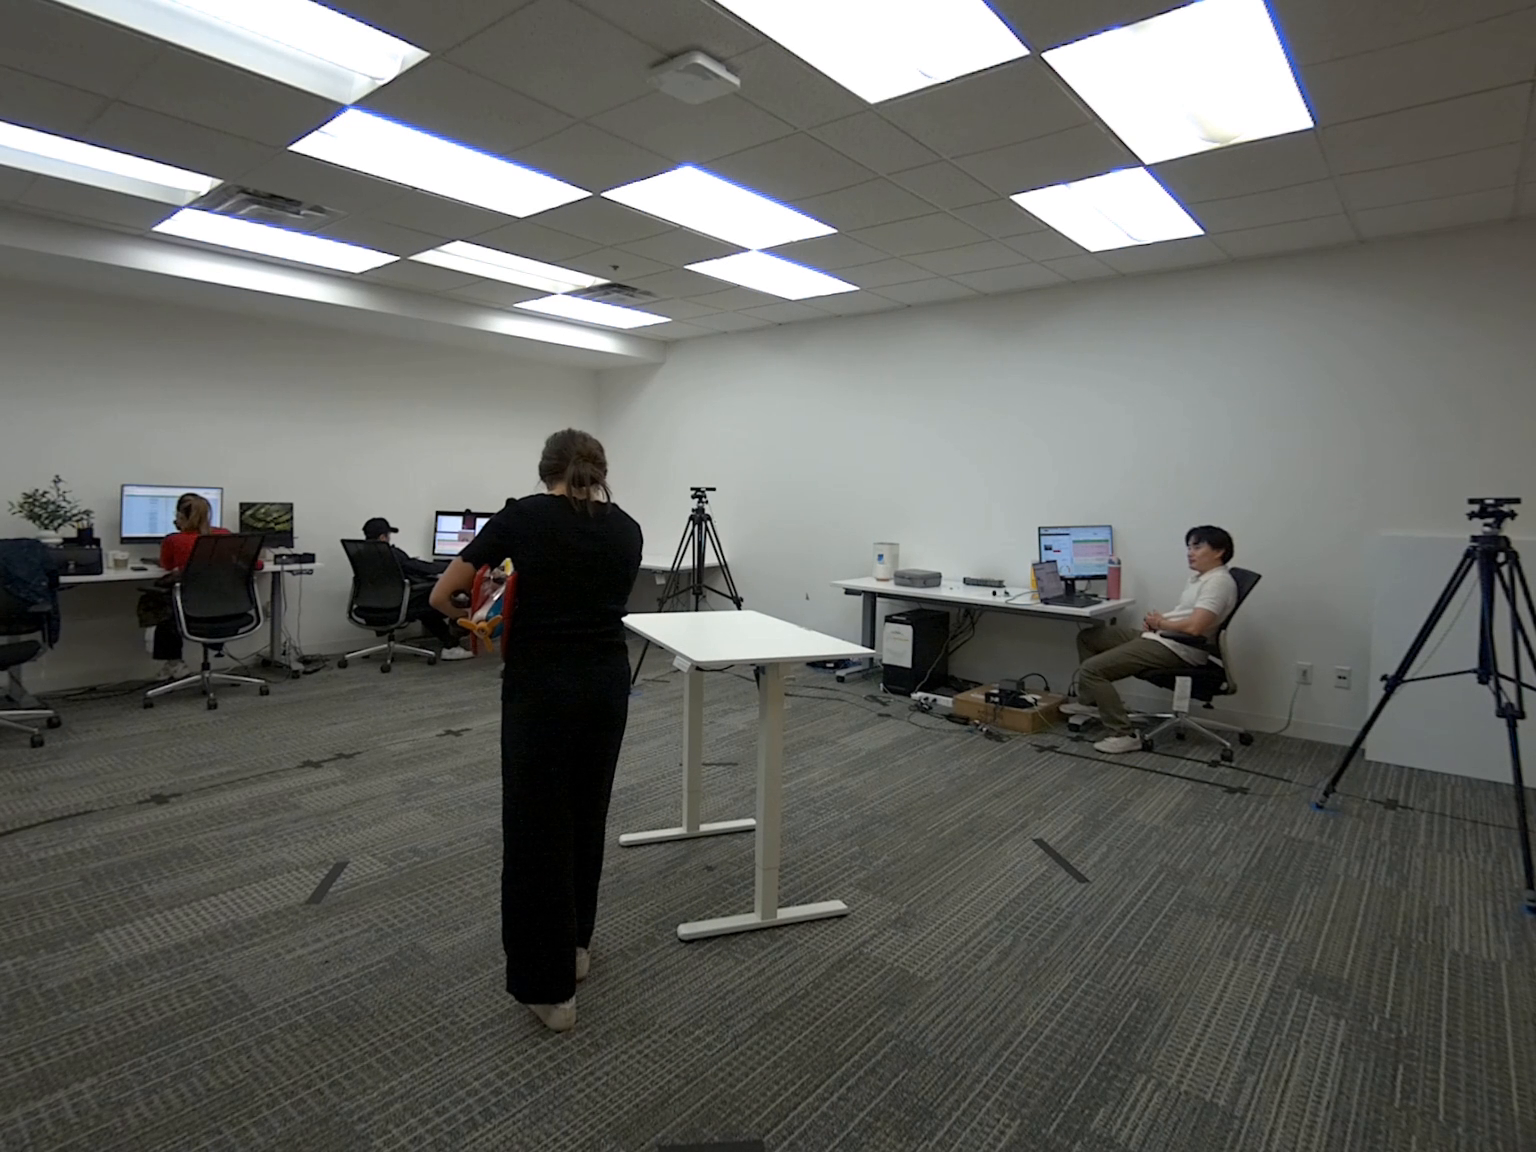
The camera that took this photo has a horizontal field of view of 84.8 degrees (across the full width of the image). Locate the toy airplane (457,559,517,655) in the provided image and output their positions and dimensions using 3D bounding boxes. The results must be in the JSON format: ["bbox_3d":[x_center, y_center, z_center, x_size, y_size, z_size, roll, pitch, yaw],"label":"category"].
[{"bbox_3d":[-0.726,0.061,2.228,0.159,0.262,0.245,19,-36,9],"label":"toy airplane"}]
